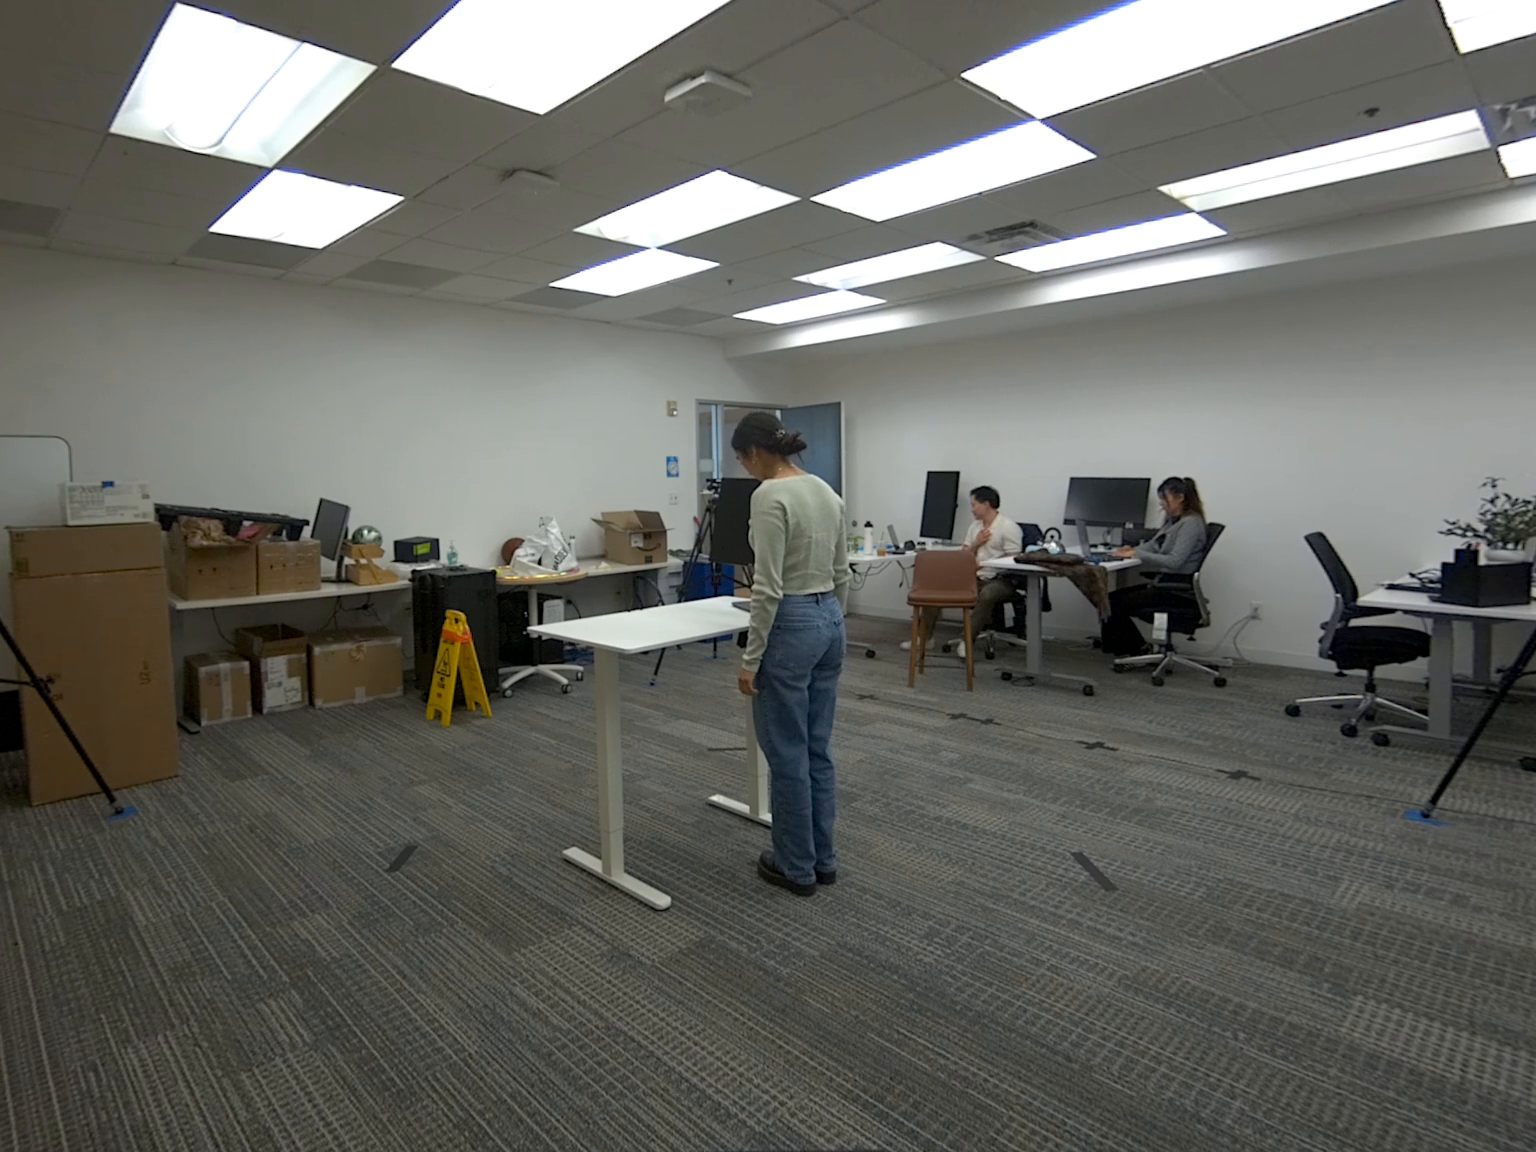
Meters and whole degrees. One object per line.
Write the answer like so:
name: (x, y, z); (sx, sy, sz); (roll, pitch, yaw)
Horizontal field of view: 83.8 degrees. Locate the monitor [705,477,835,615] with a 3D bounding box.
monitor: (-0.005, -0.122, 3.360); (0.182, 0.520, 0.556); (-4, 7, -41)
